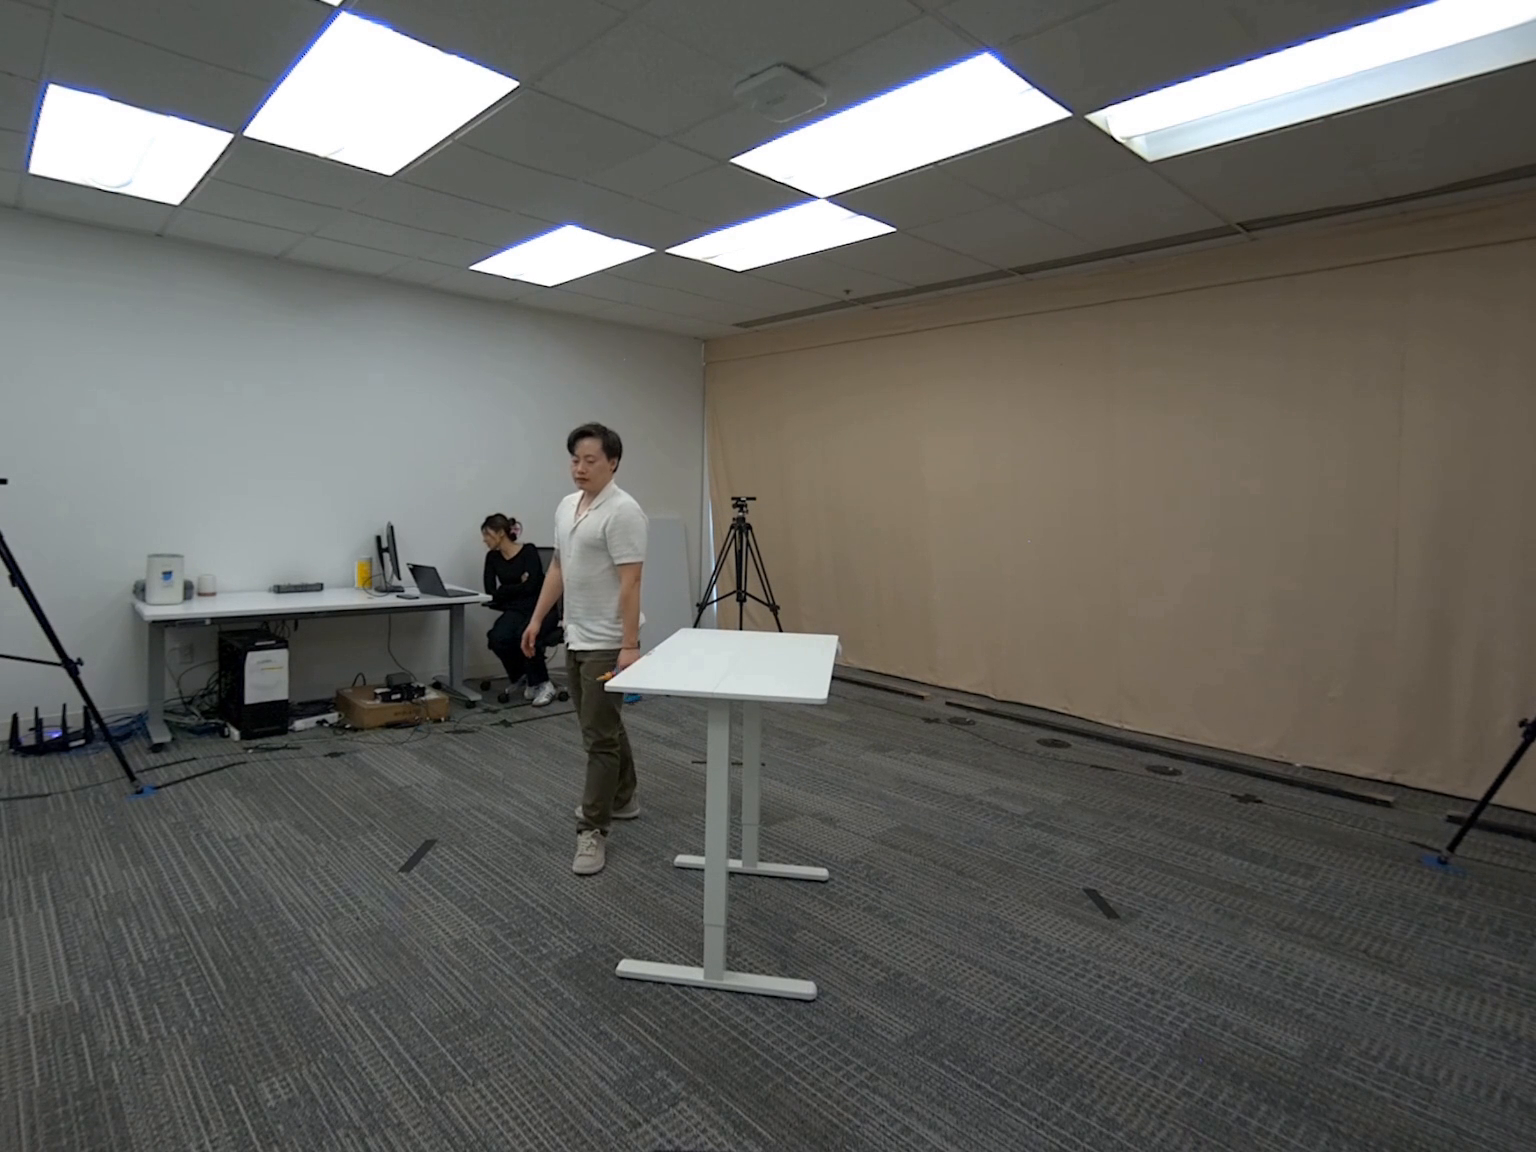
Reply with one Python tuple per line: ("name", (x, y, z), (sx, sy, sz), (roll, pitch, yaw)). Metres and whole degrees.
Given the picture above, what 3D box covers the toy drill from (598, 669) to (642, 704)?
("toy drill", (-0.558, 0.406, 3.201), (0.168, 0.146, 0.062), (-7, -1, -14))
